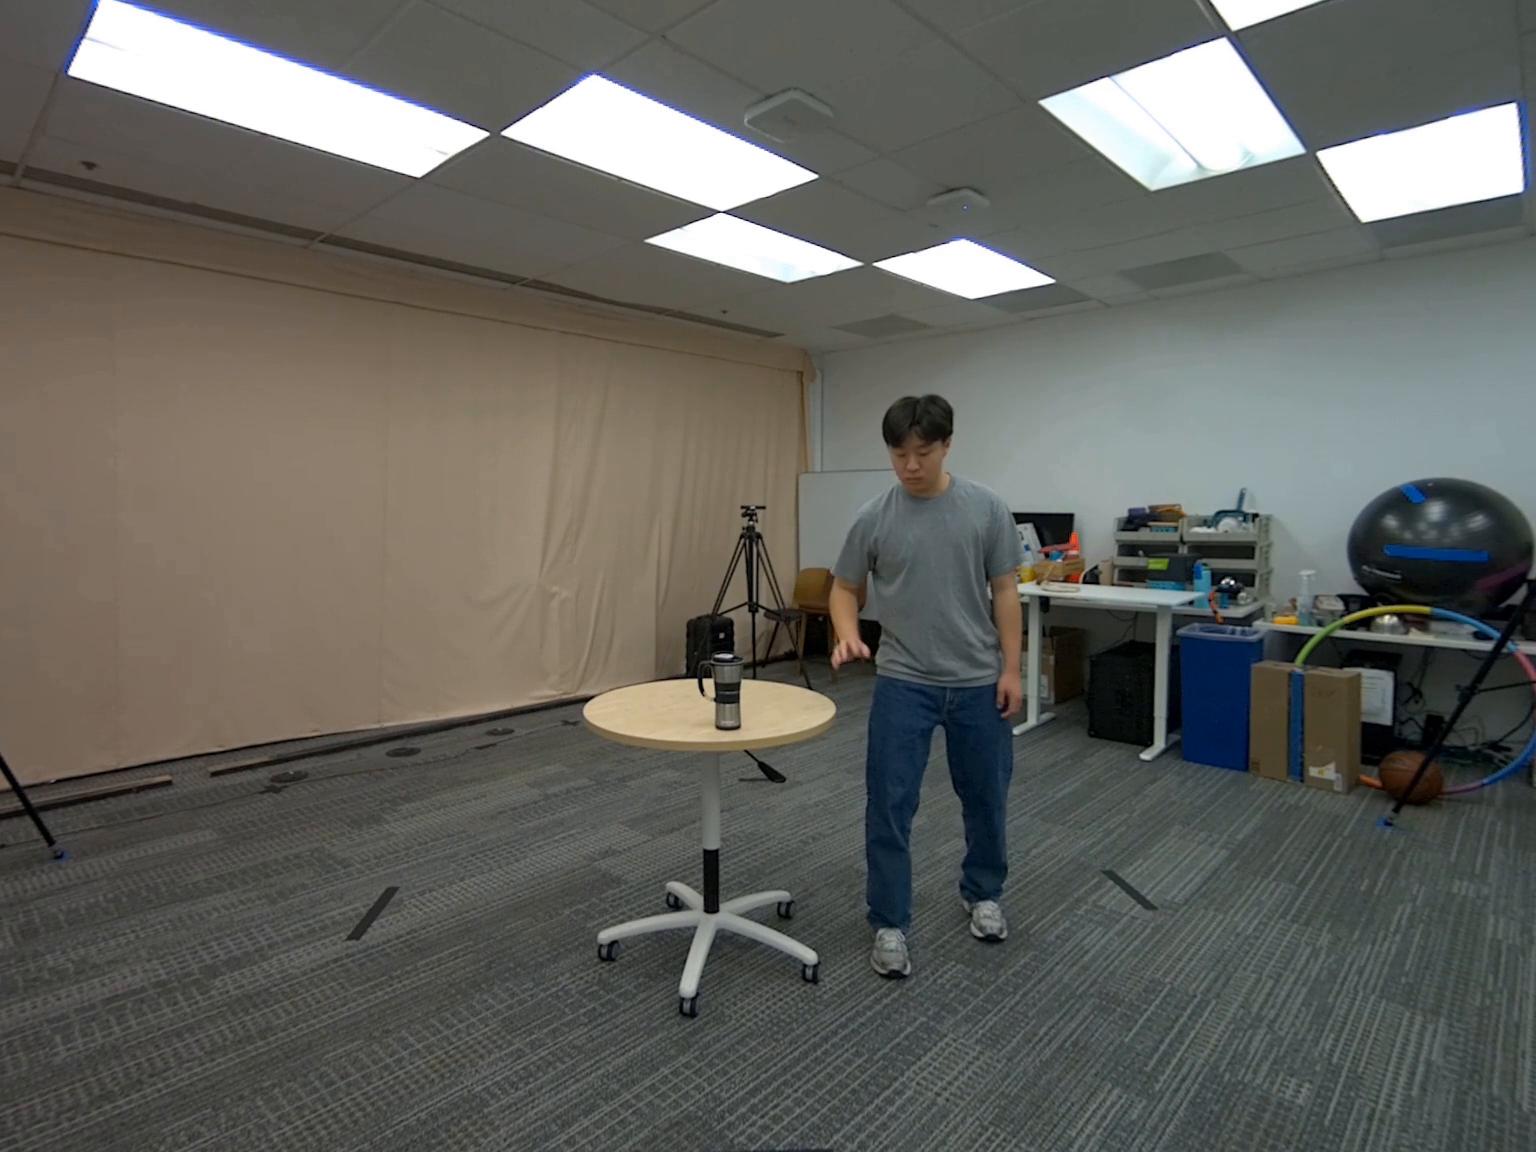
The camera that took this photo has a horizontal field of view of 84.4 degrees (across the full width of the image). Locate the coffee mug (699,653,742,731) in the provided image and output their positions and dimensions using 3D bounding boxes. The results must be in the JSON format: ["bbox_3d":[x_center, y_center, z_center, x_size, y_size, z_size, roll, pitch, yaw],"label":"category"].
[{"bbox_3d":[-0.128,0.319,2.329,0.125,0.202,0.086,3,7,24],"label":"coffee mug"}]
